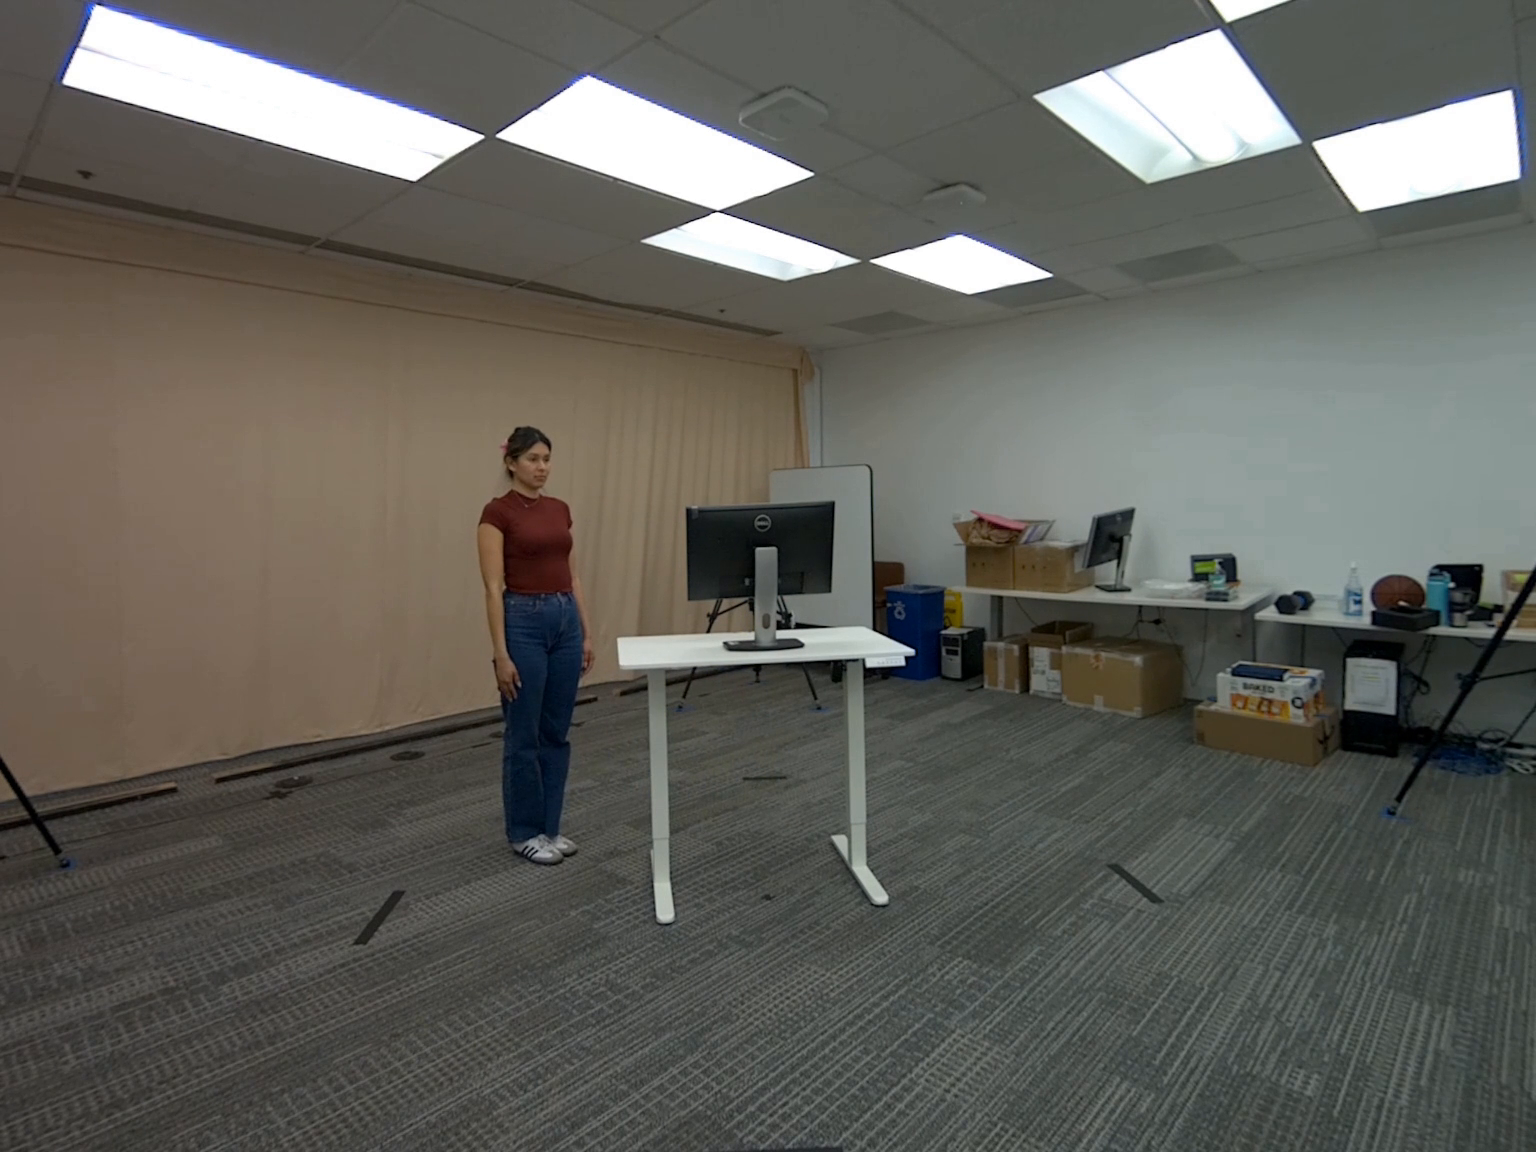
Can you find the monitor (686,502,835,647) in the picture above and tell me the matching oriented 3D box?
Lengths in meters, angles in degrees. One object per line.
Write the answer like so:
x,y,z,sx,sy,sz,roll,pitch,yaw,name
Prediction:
-0.013,0.003,2.997,0.533,0.521,0.190,-2,5,-10,monitor
